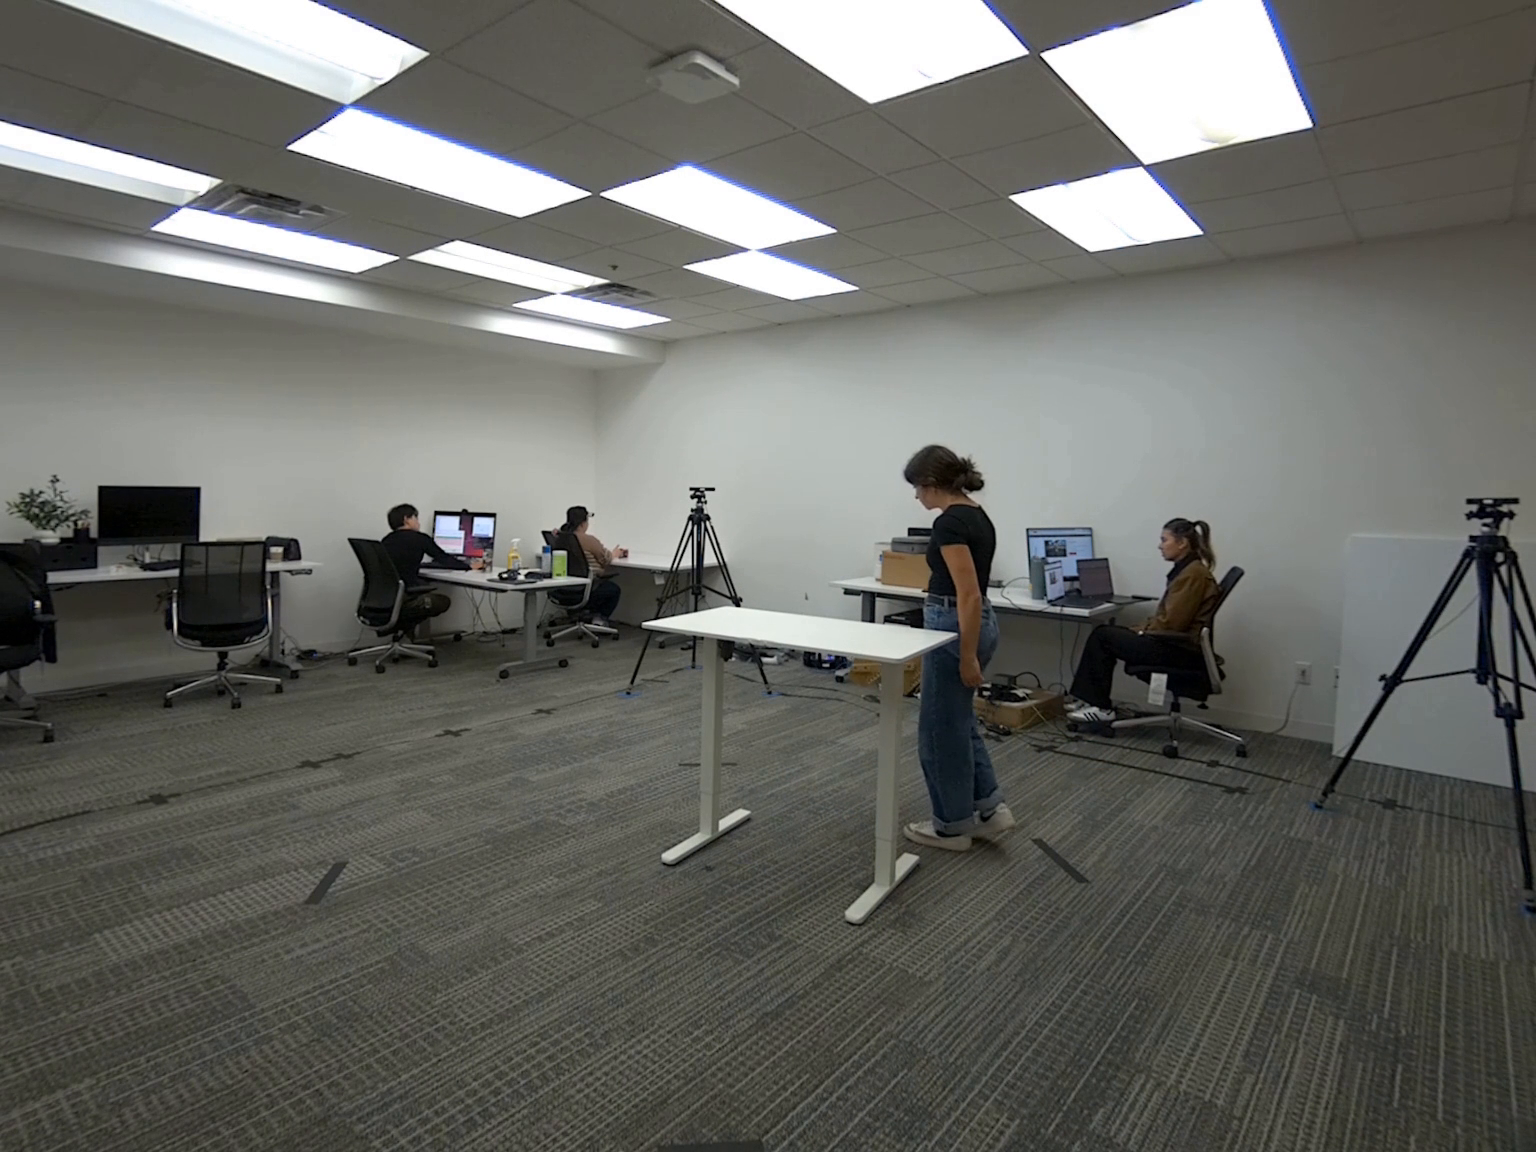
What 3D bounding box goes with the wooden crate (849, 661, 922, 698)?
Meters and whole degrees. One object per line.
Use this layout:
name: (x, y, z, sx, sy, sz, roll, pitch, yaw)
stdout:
wooden crate: (0.535, 0.332, 3.721, 0.281, 0.299, 0.318, 26, 17, 21)
